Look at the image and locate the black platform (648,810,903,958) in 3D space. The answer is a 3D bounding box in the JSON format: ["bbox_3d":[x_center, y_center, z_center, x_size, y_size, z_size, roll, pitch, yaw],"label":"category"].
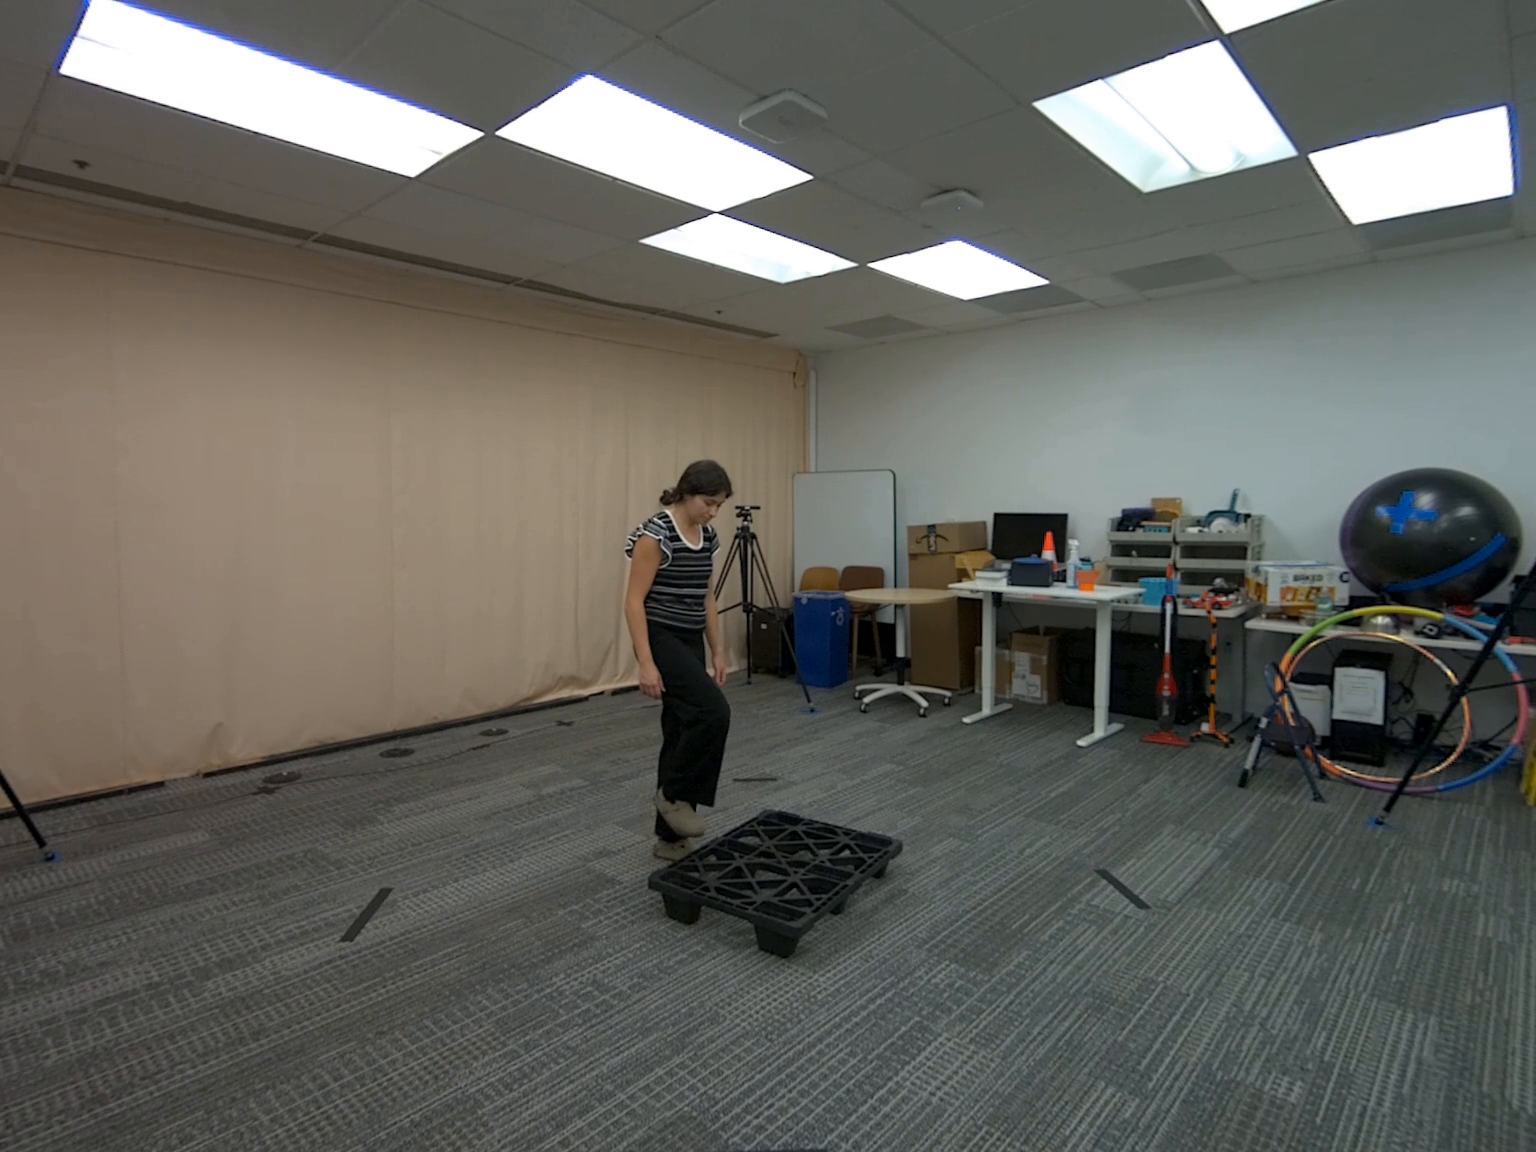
[{"bbox_3d":[0.058,1.073,3.010,0.624,0.143,0.783,4,7,33],"label":"black platform"}]
